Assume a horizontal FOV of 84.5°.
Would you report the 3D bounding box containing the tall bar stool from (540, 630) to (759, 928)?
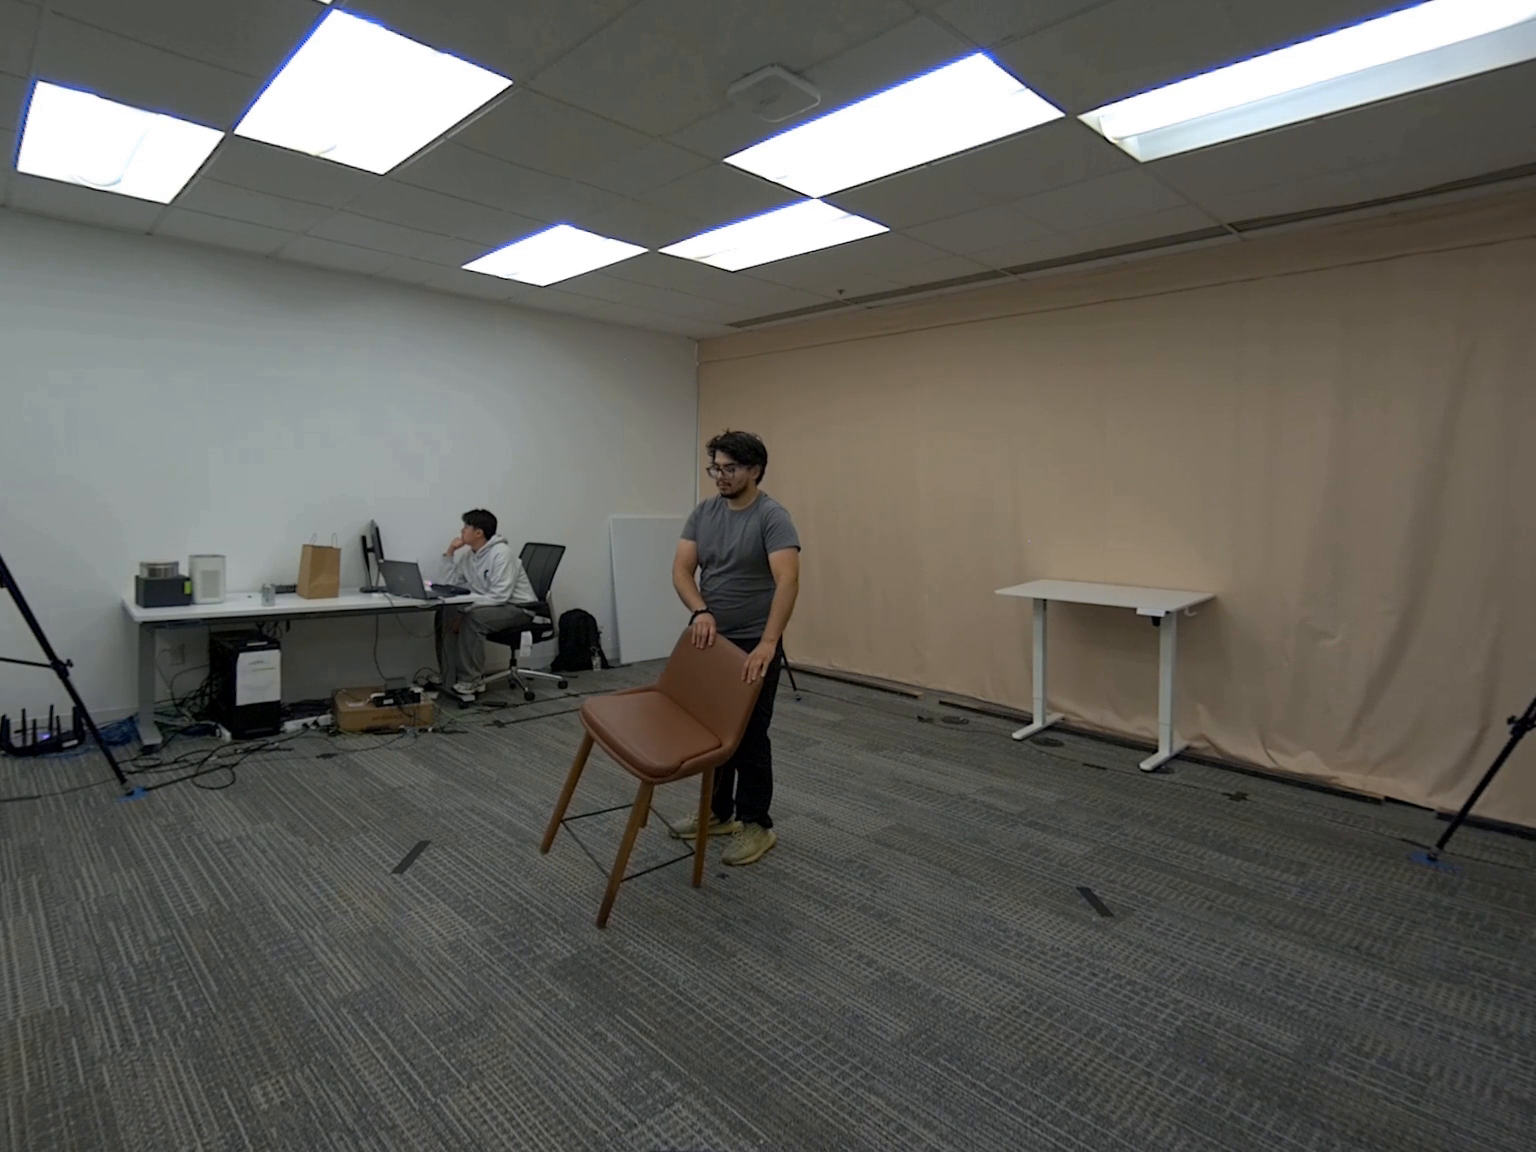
[{"bbox_3d":[-0.403,0.652,2.869,0.456,0.883,0.471,2,21,-45],"label":"tall bar stool"}]
